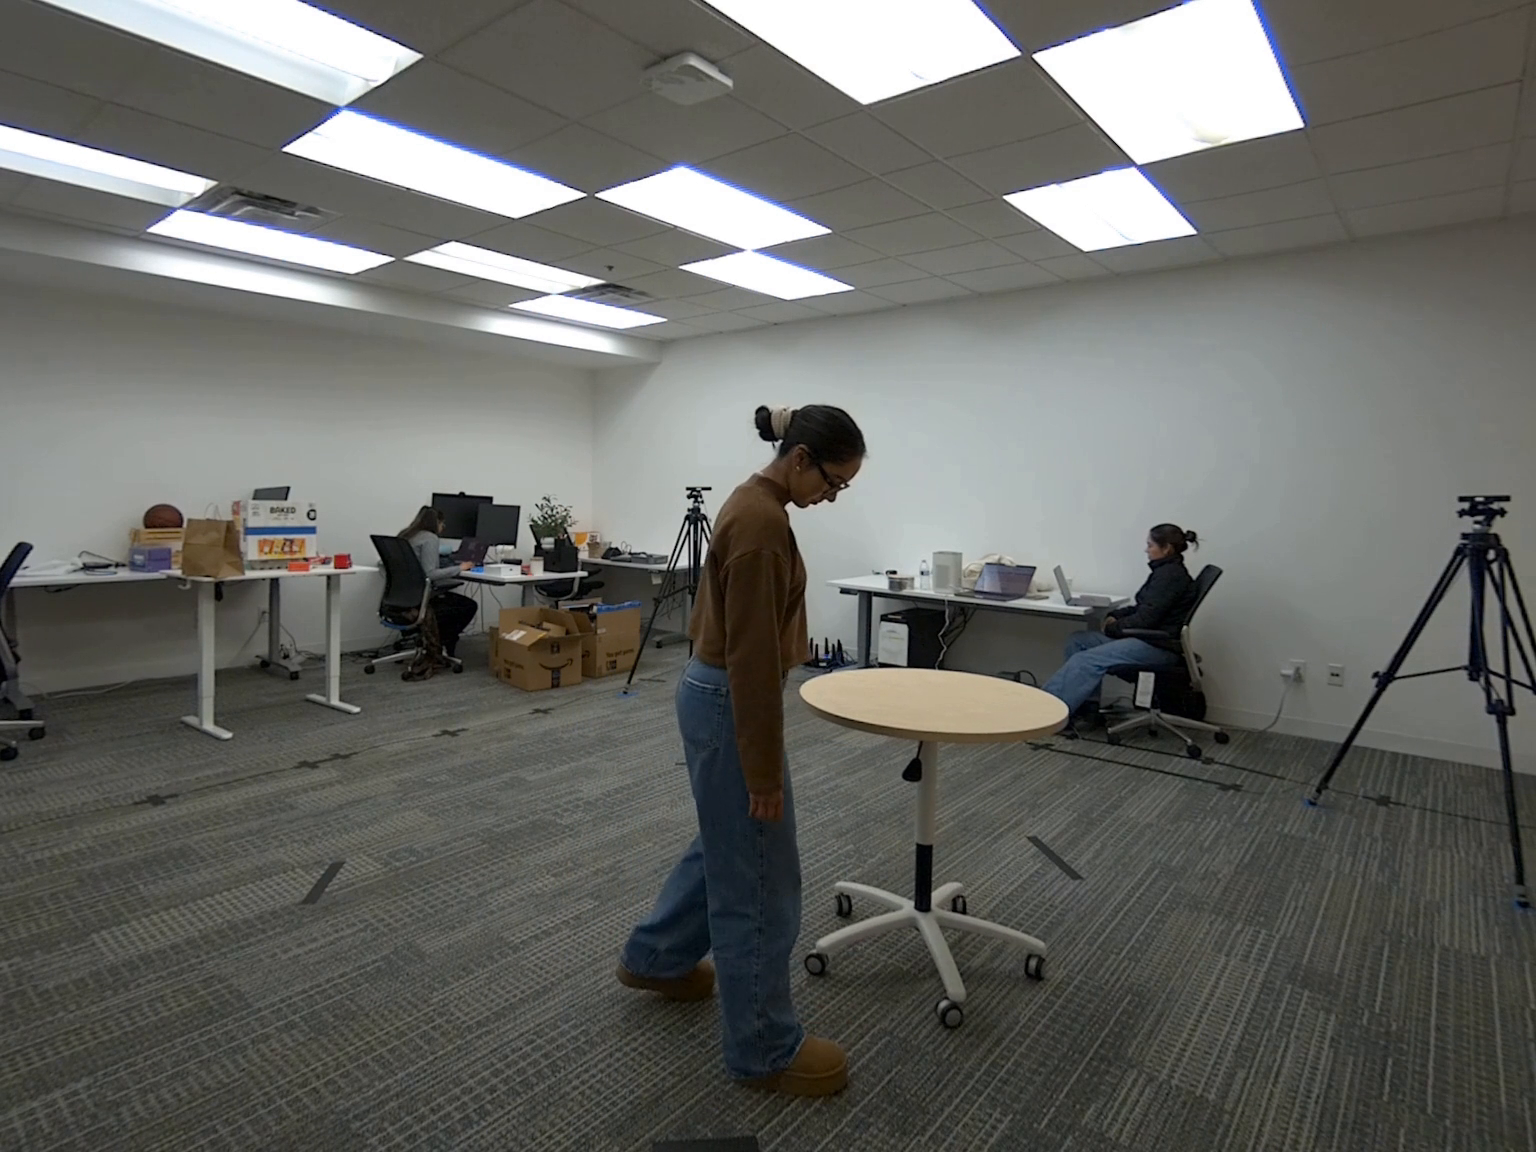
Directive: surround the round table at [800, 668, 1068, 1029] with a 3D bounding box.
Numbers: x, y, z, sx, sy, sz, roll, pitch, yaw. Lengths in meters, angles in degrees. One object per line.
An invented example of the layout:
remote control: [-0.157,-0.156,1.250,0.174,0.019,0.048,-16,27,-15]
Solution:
round table: [0.464,0.748,2.537,0.763,0.791,0.768,1,4,-2]
